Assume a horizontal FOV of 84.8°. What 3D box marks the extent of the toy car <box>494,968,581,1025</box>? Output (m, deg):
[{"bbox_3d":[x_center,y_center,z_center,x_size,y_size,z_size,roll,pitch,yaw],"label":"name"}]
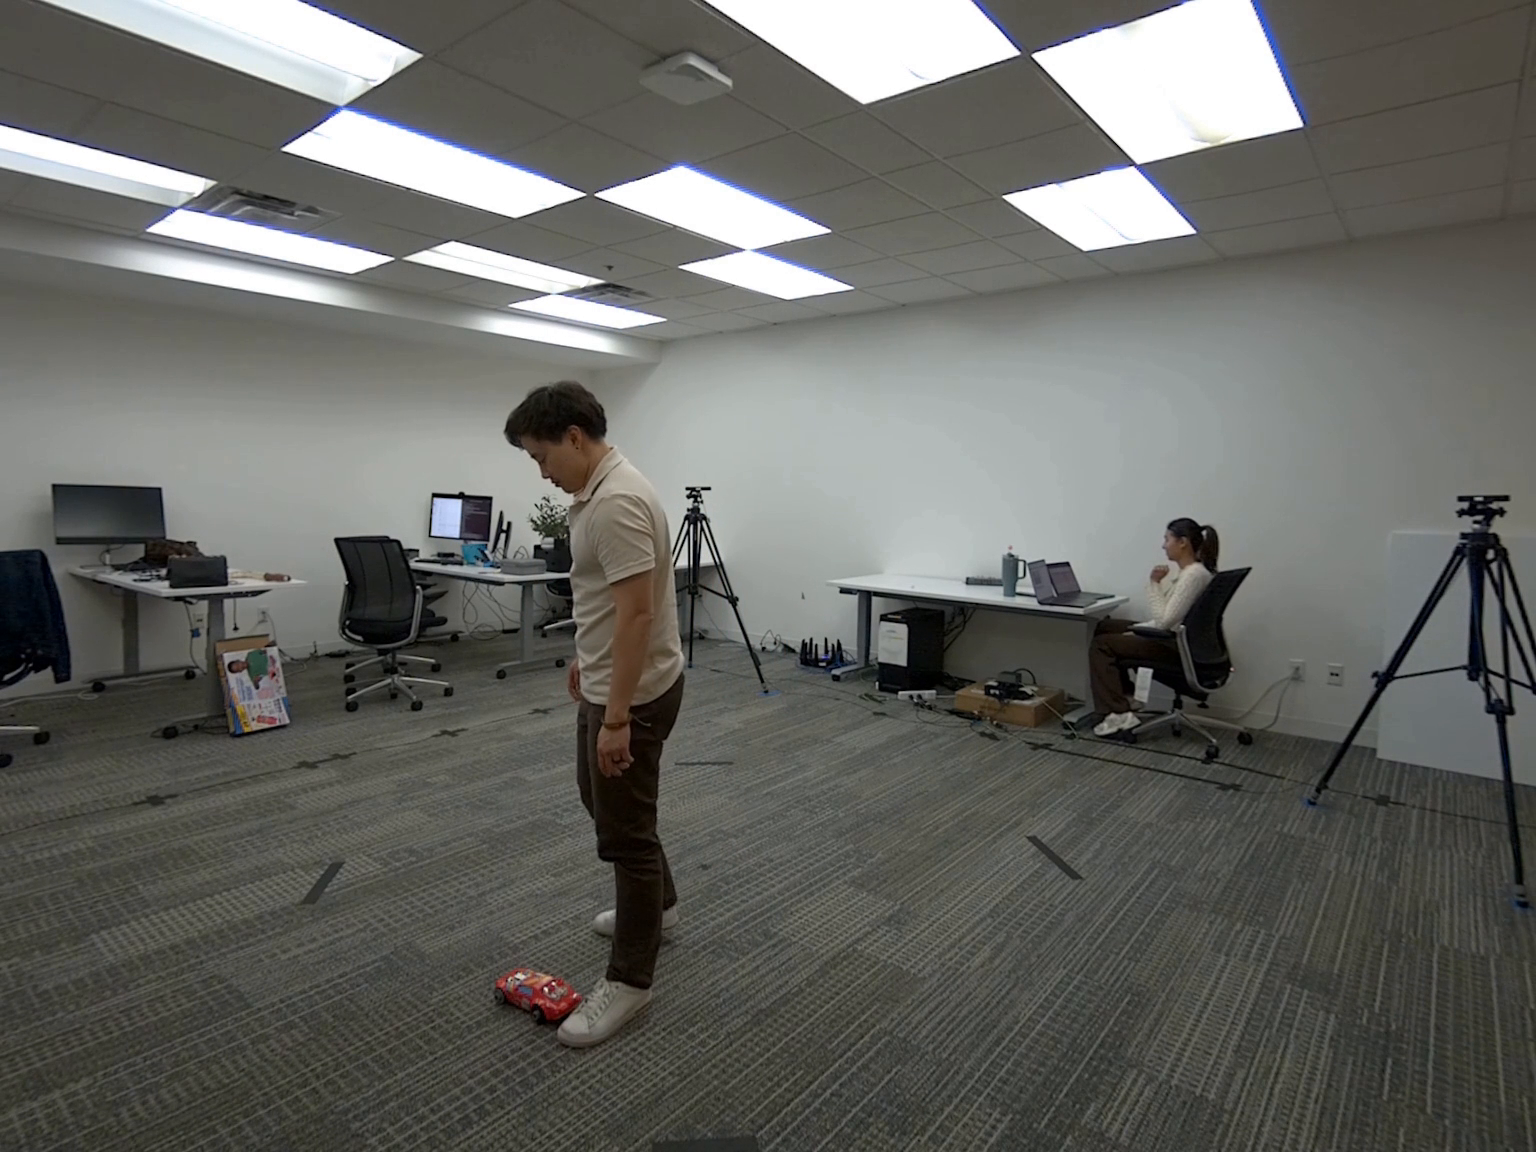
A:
[{"bbox_3d":[-0.618,1.116,2.259,0.261,0.083,0.127,-8,-1,34],"label":"toy car"}]
